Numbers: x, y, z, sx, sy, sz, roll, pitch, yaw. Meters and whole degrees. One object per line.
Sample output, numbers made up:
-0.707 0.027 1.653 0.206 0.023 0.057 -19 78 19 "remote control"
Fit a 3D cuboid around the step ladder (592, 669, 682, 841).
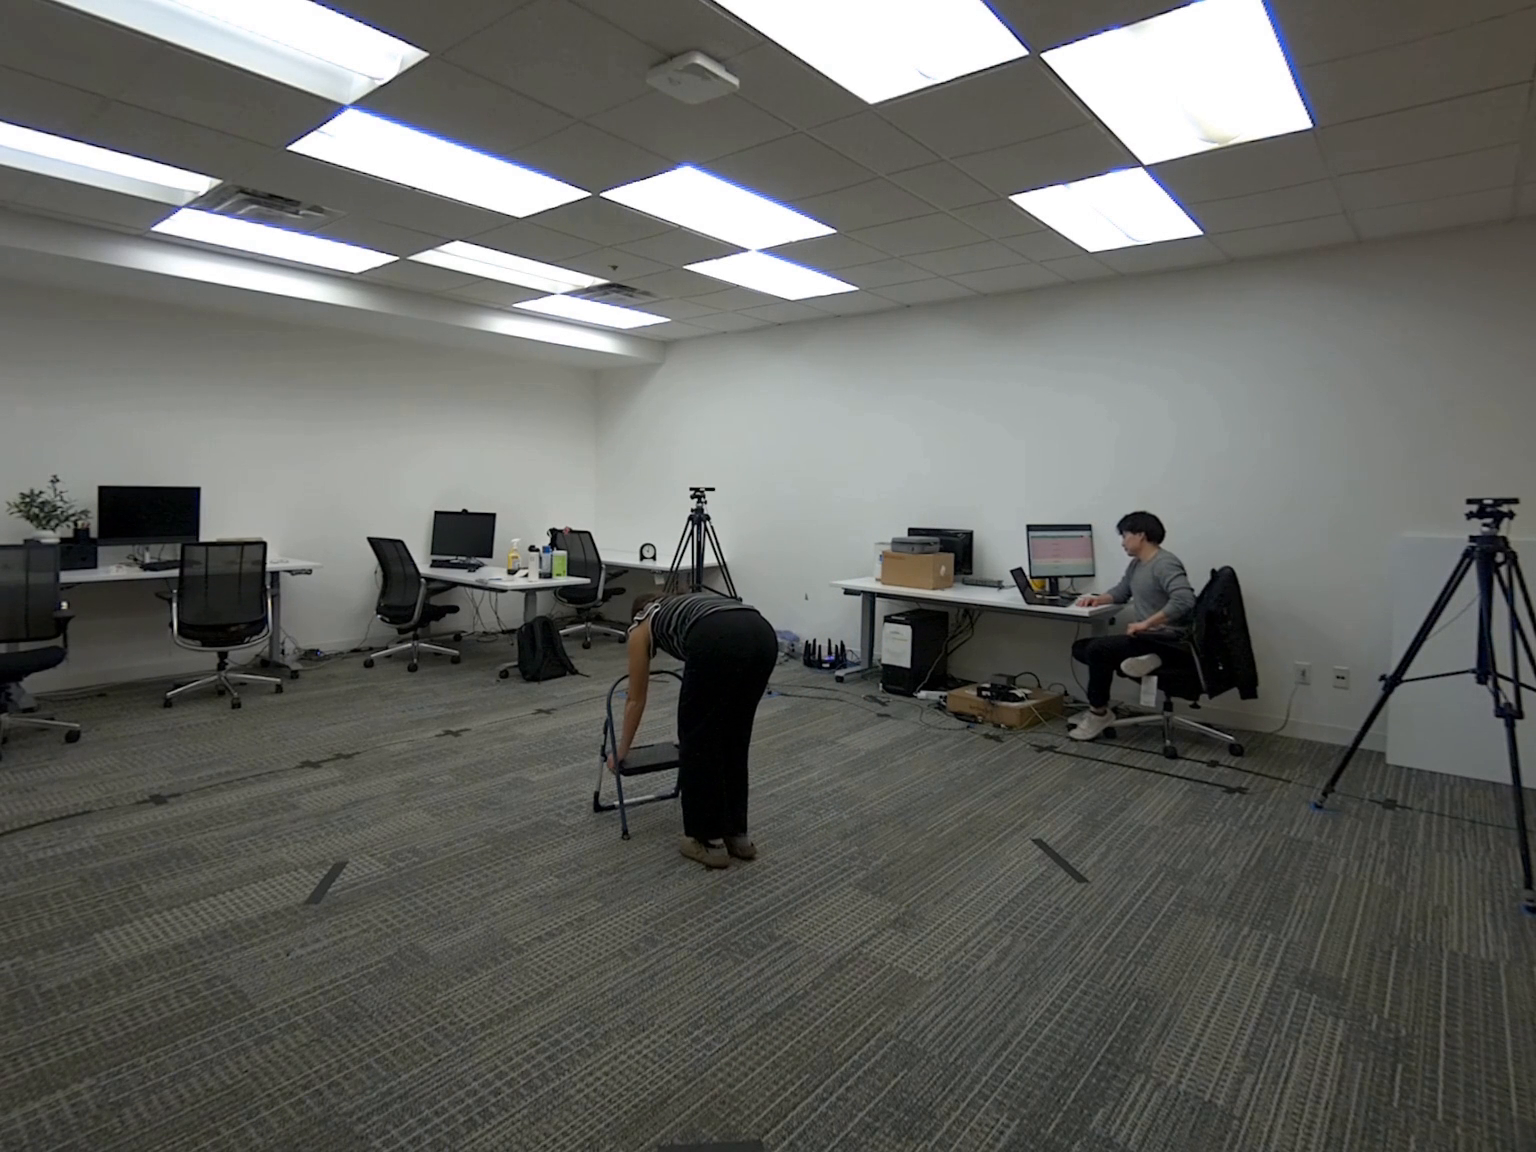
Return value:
-0.495 0.714 3.590 0.419 0.604 0.360 -2 4 -33 "step ladder"
